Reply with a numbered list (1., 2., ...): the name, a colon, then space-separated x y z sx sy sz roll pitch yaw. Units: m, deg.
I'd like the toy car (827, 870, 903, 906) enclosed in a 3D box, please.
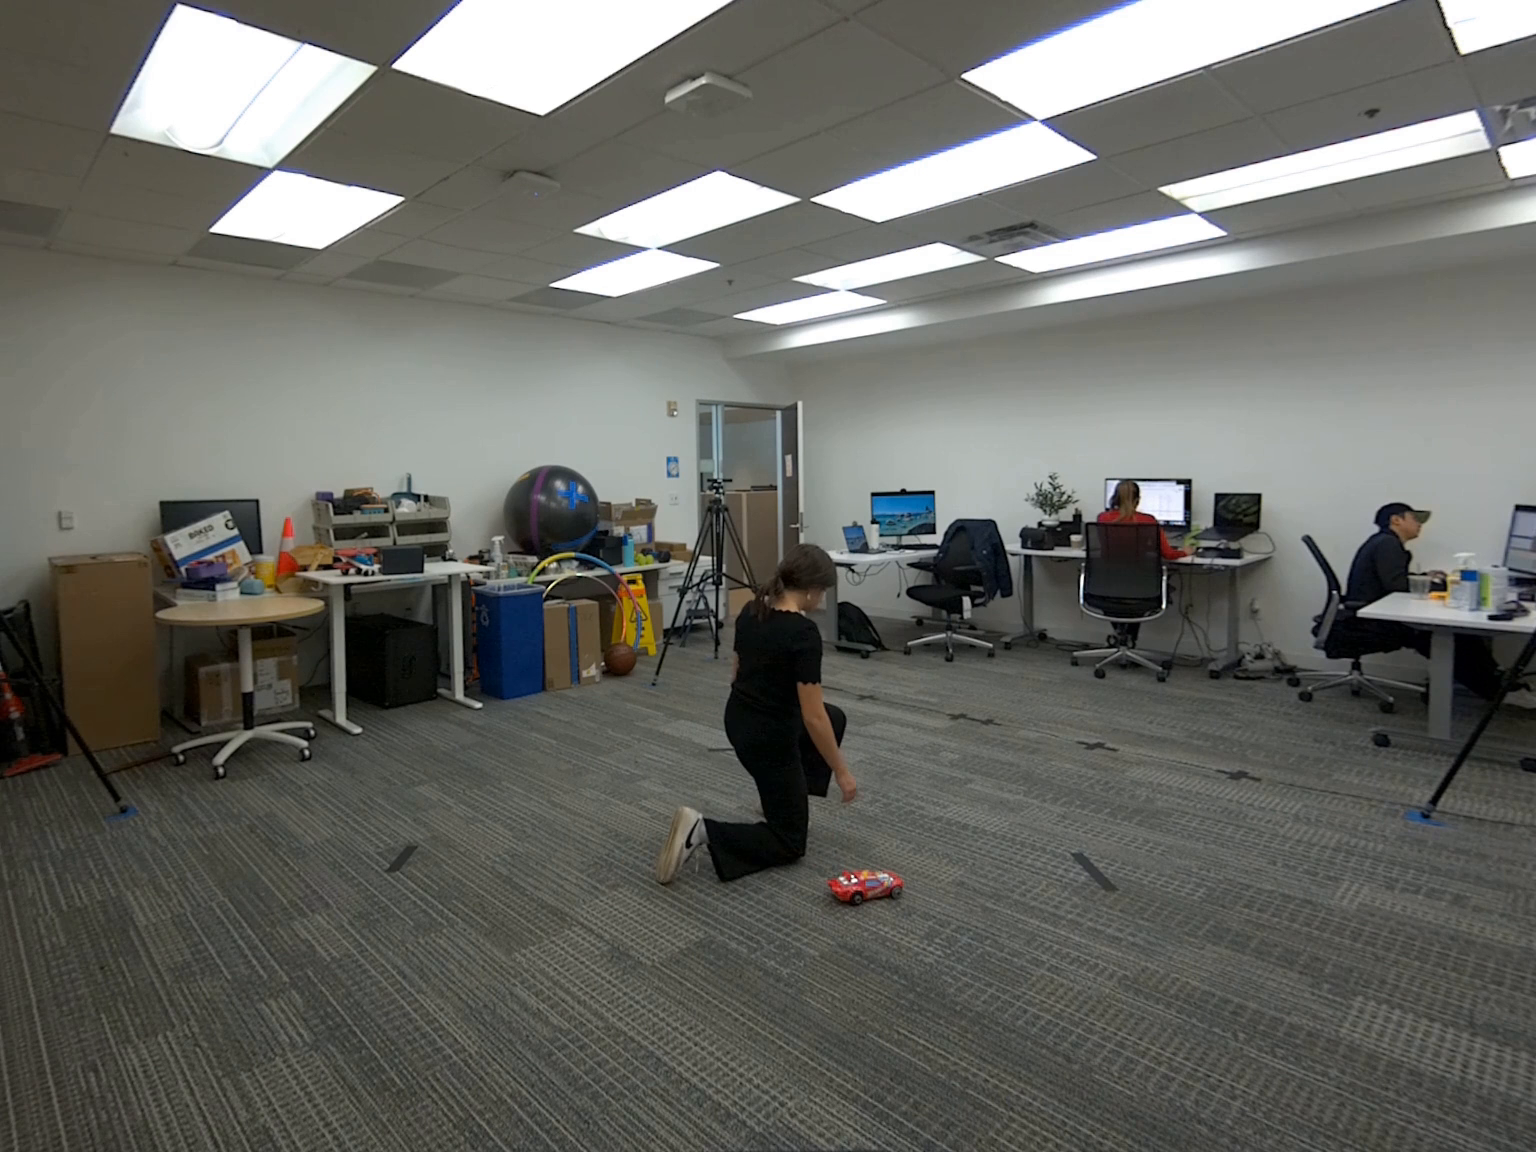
1. toy car: 0.321 1.037 2.848 0.250 0.083 0.133 8 2 -17
